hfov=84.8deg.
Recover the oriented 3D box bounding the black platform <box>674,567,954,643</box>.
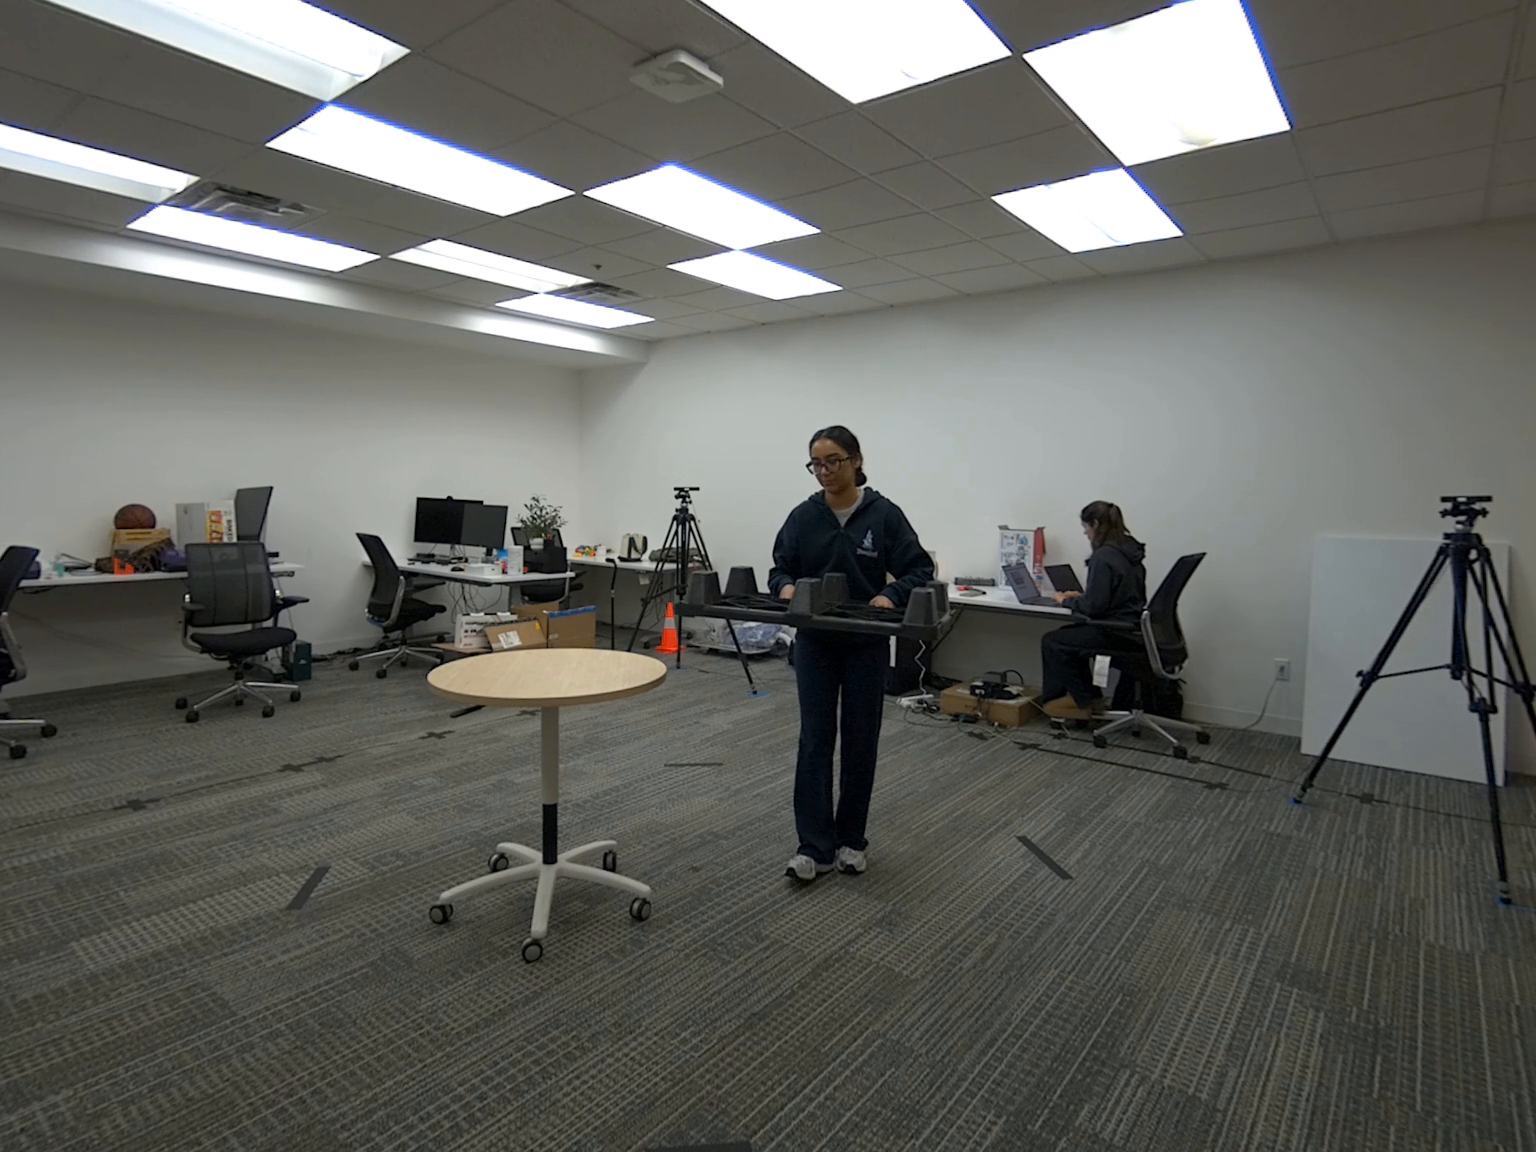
[{"bbox_3d":[0.155,0.068,2.756,0.823,0.143,0.593,4,4,19],"label":"black platform"}]
